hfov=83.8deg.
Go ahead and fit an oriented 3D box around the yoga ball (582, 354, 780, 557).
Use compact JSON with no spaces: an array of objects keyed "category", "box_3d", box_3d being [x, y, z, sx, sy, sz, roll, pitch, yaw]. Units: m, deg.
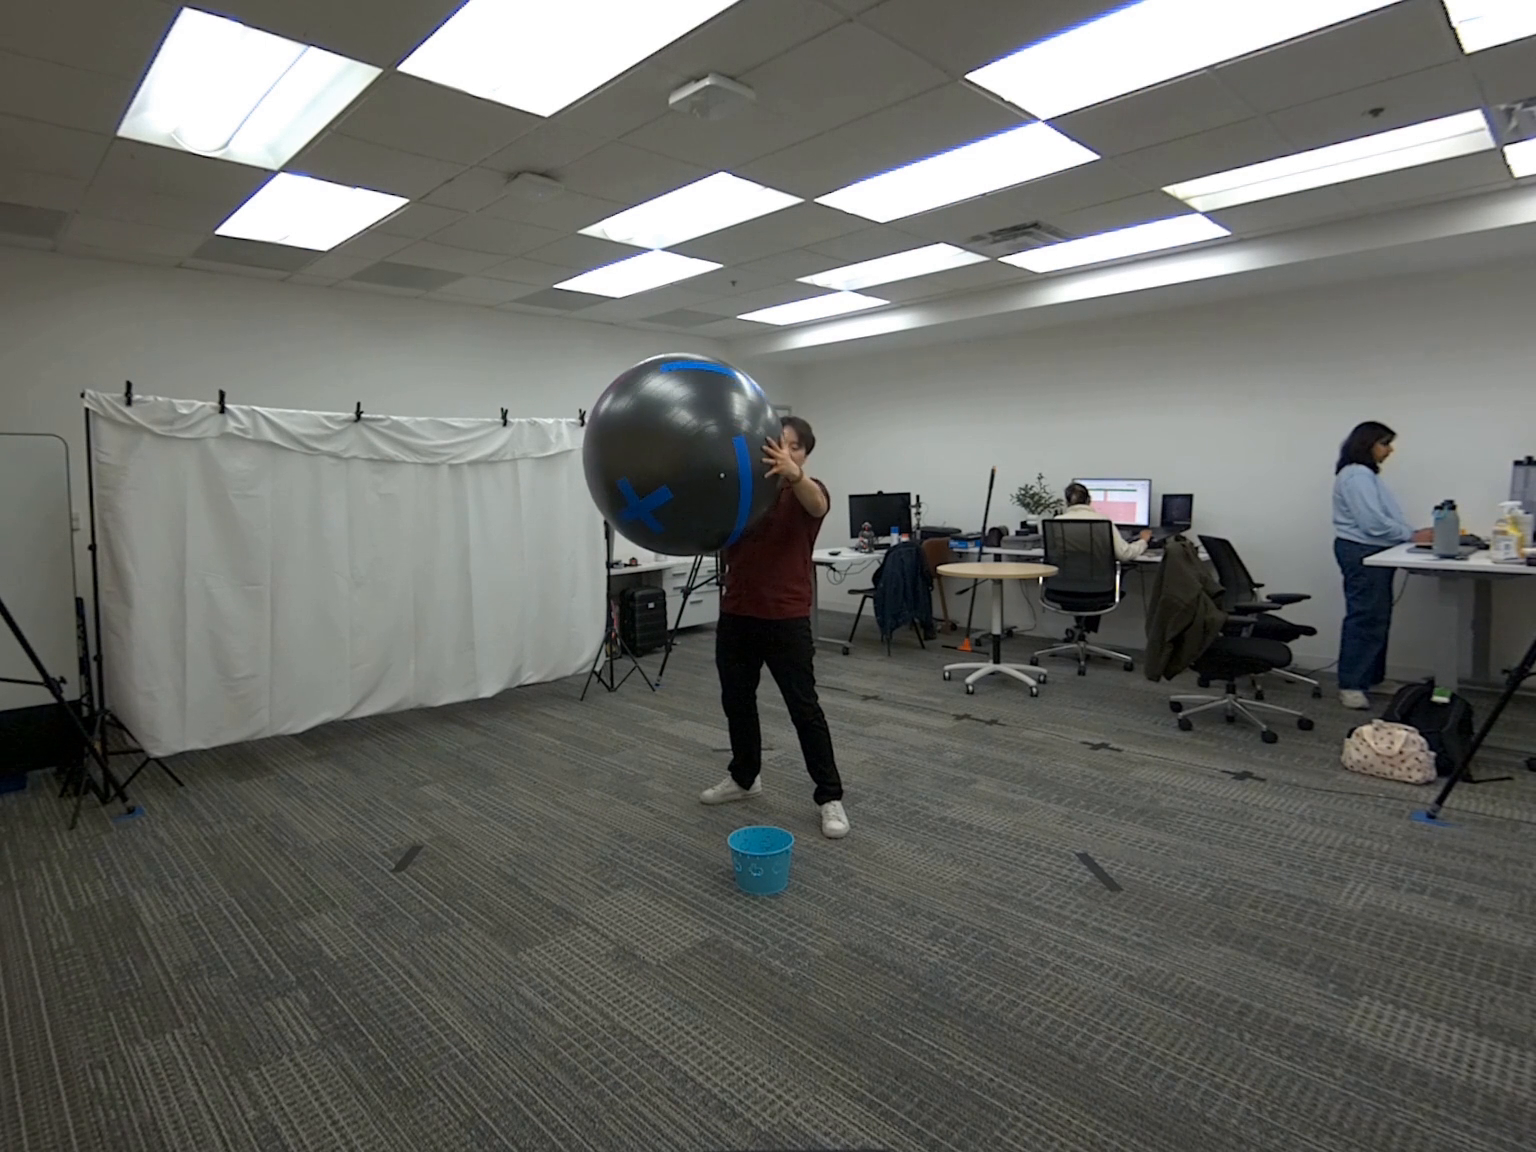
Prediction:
[{"category":"yoga ball","box_3d":[-0.319,-0.446,3.214,0.757,0.755,0.762,-1,5,-2]}]
